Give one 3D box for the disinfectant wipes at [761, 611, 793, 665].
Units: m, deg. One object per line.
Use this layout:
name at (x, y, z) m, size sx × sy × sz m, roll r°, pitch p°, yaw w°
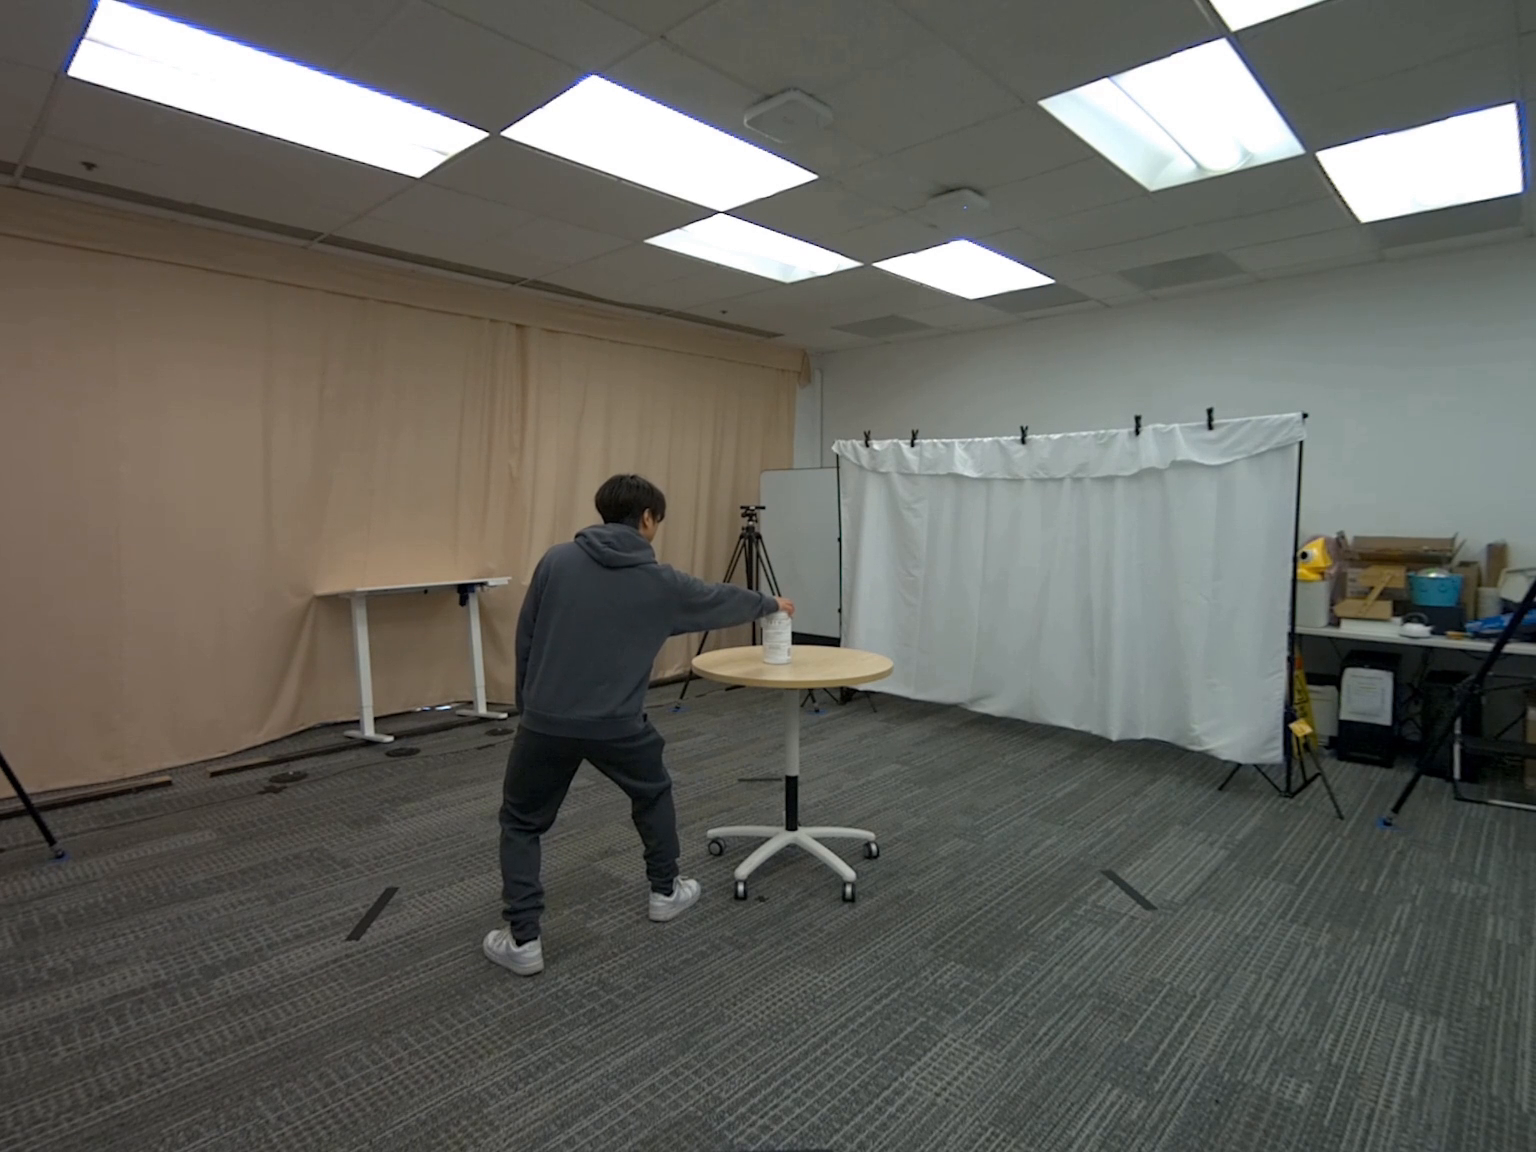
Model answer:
disinfectant wipes at (0.040, 0.224, 3.196) m, size 0.118 × 0.217 × 0.118 m, roll -3°, pitch 3°, yaw -2°
